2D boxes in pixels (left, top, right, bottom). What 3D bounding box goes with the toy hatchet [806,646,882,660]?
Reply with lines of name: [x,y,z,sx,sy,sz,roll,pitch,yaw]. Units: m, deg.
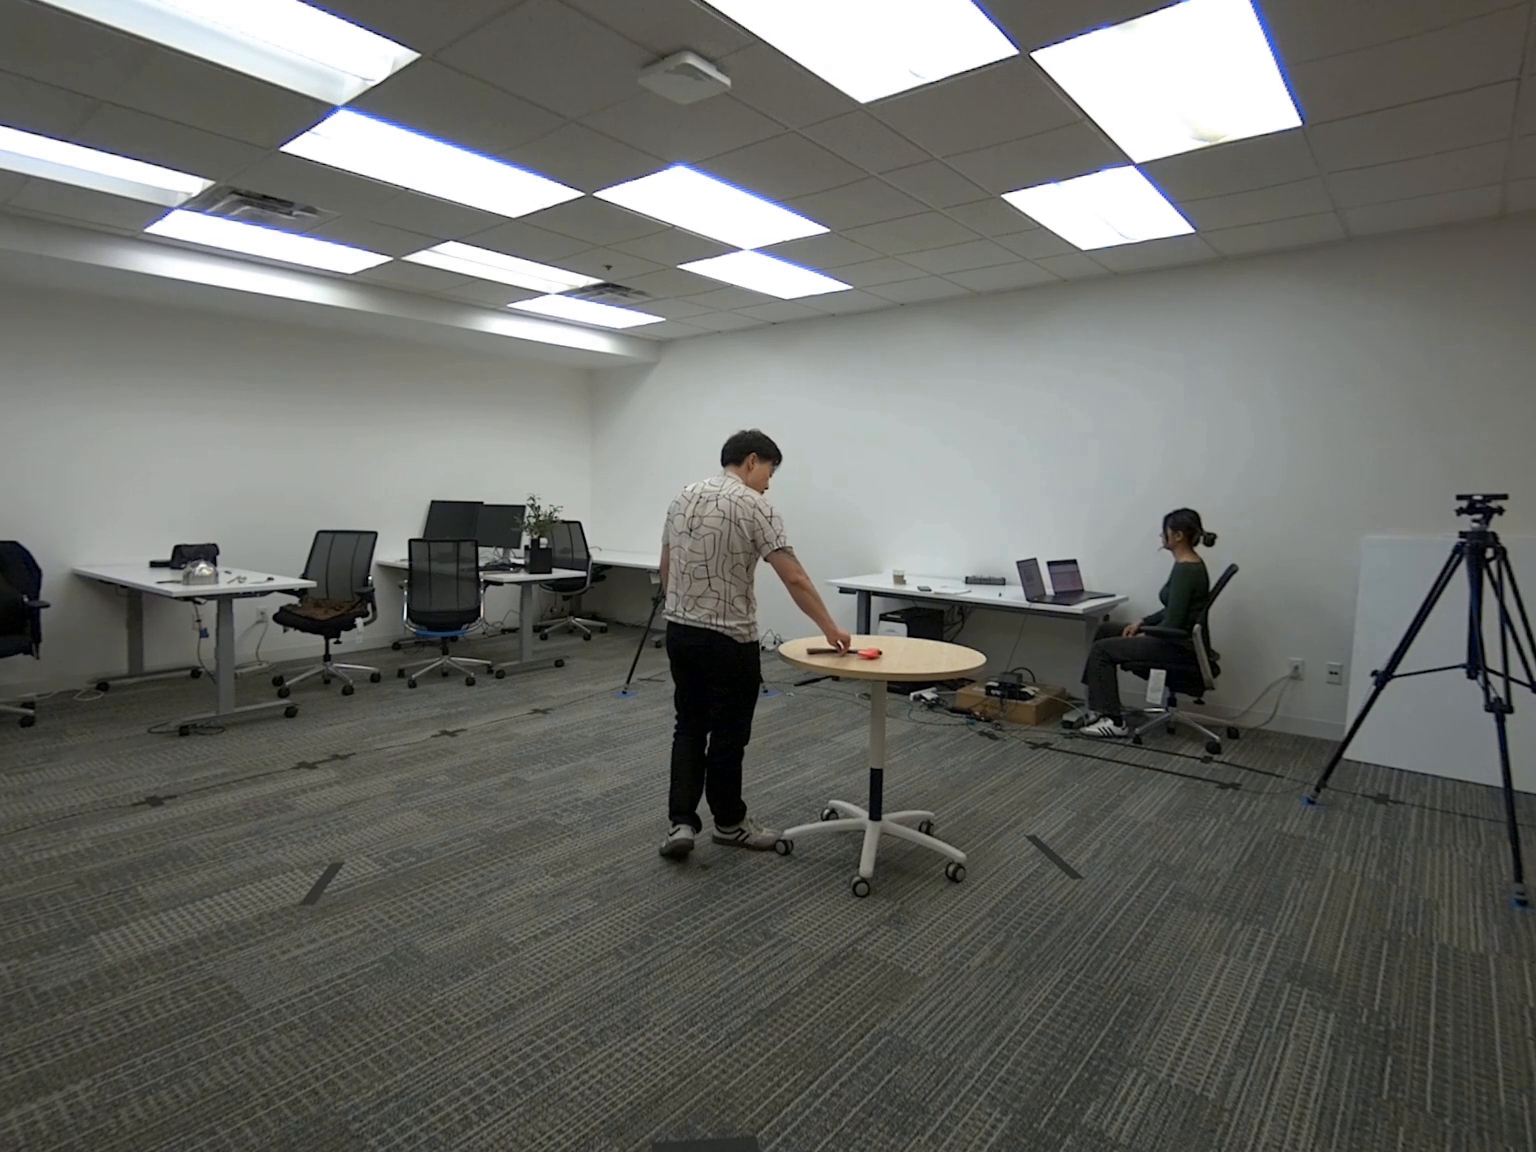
toy hatchet: [0.277,0.281,3.105,0.270,0.029,0.131,0,1,-1]
